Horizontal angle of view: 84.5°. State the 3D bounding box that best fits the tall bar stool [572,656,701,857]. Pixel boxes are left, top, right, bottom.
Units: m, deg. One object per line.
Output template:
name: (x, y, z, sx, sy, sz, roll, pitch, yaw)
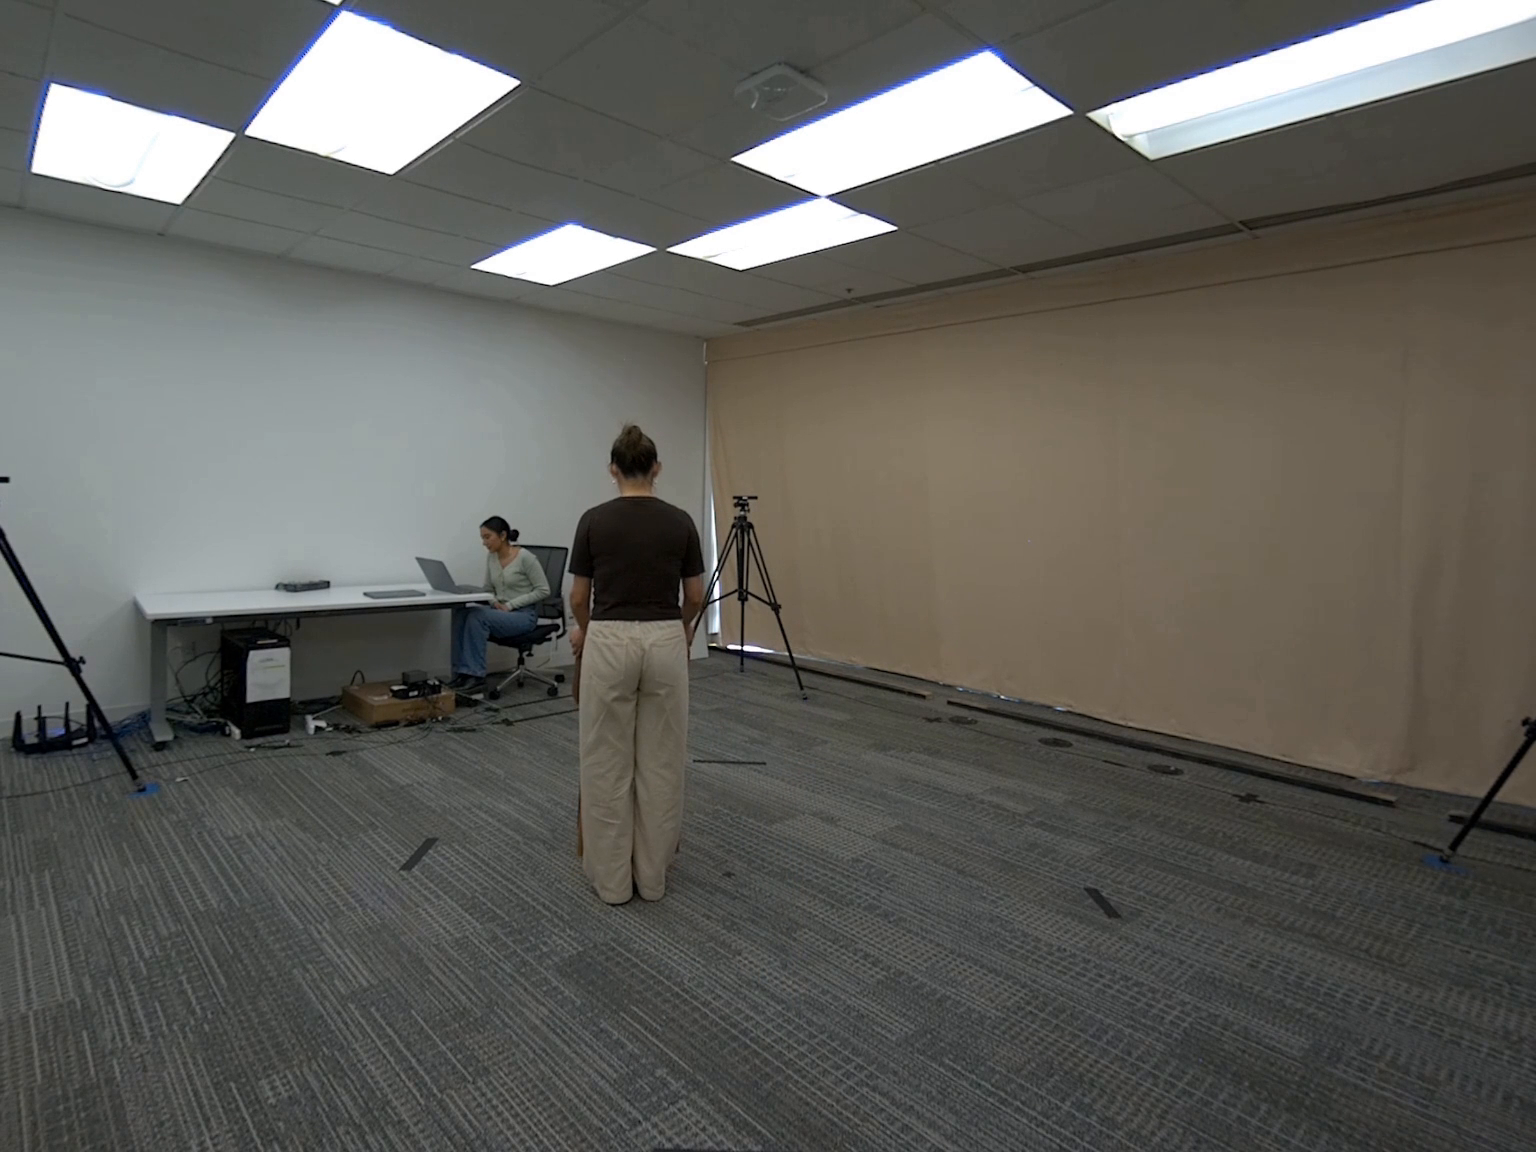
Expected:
tall bar stool: (-0.560, 0.610, 3.358, 0.453, 0.891, 0.470, 1, -2, -10)
